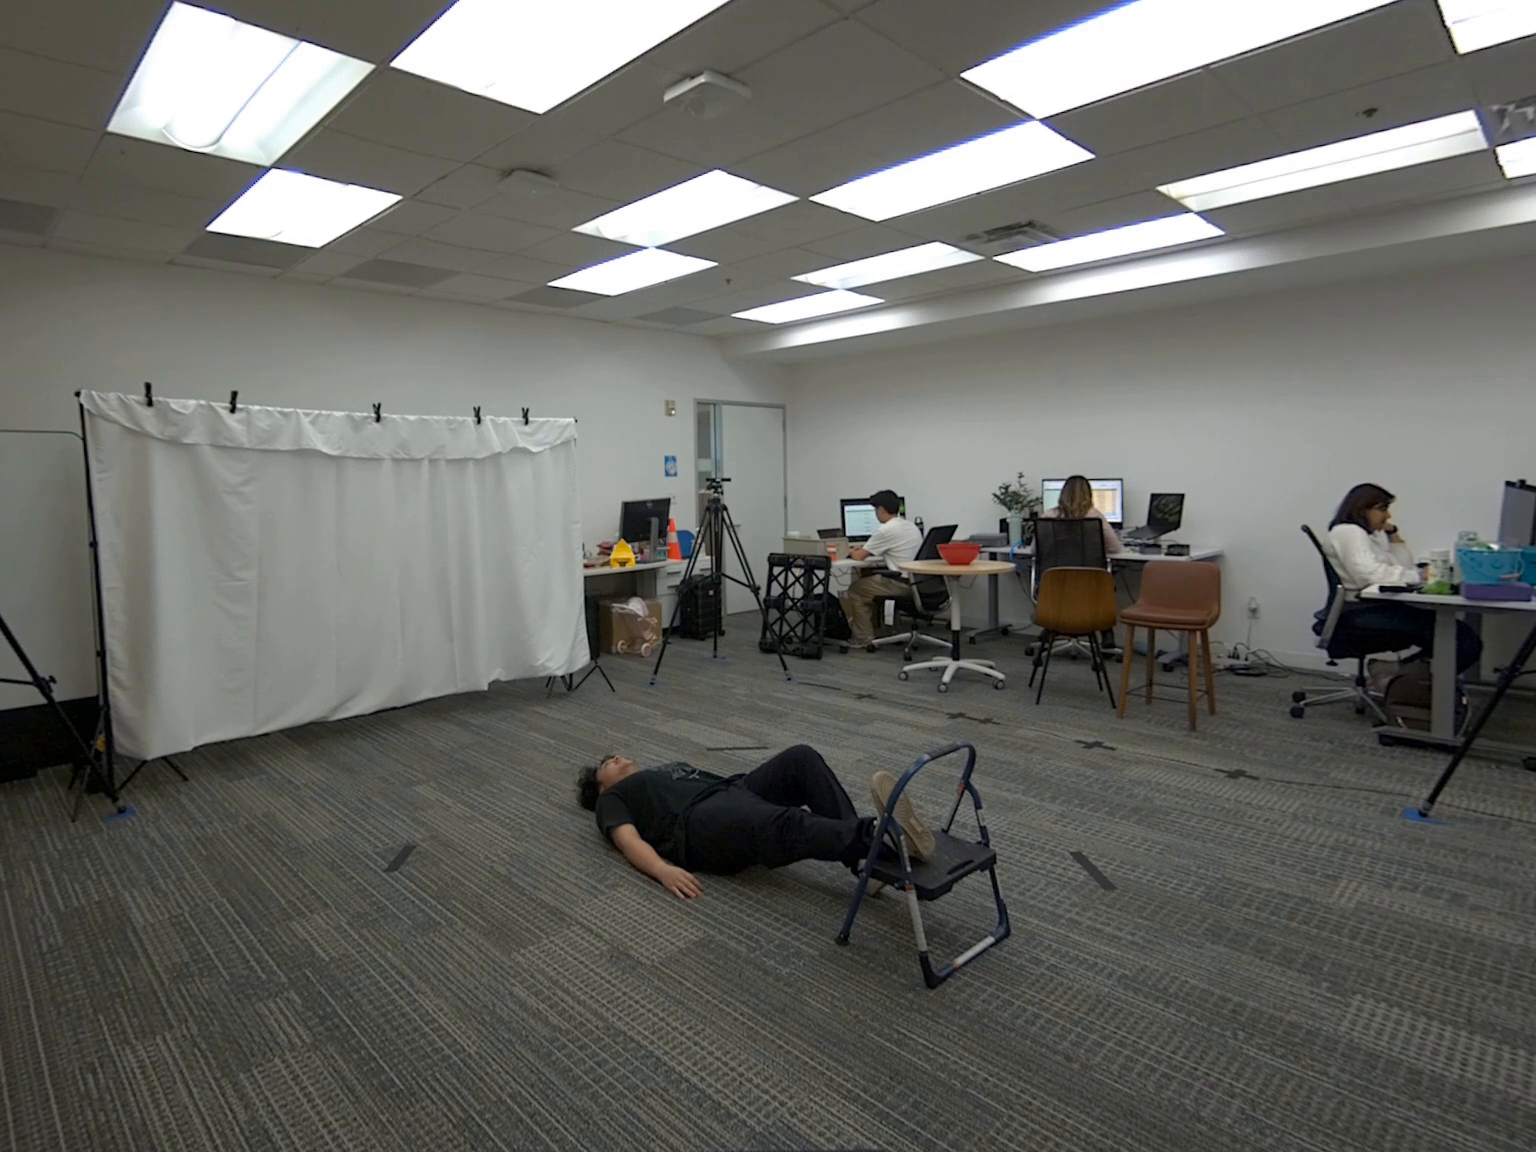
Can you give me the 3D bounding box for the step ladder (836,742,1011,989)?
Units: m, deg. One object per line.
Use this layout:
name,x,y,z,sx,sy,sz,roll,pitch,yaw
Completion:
step ladder,0.475,0.798,2.555,0.419,0.604,0.360,-6,6,-44
